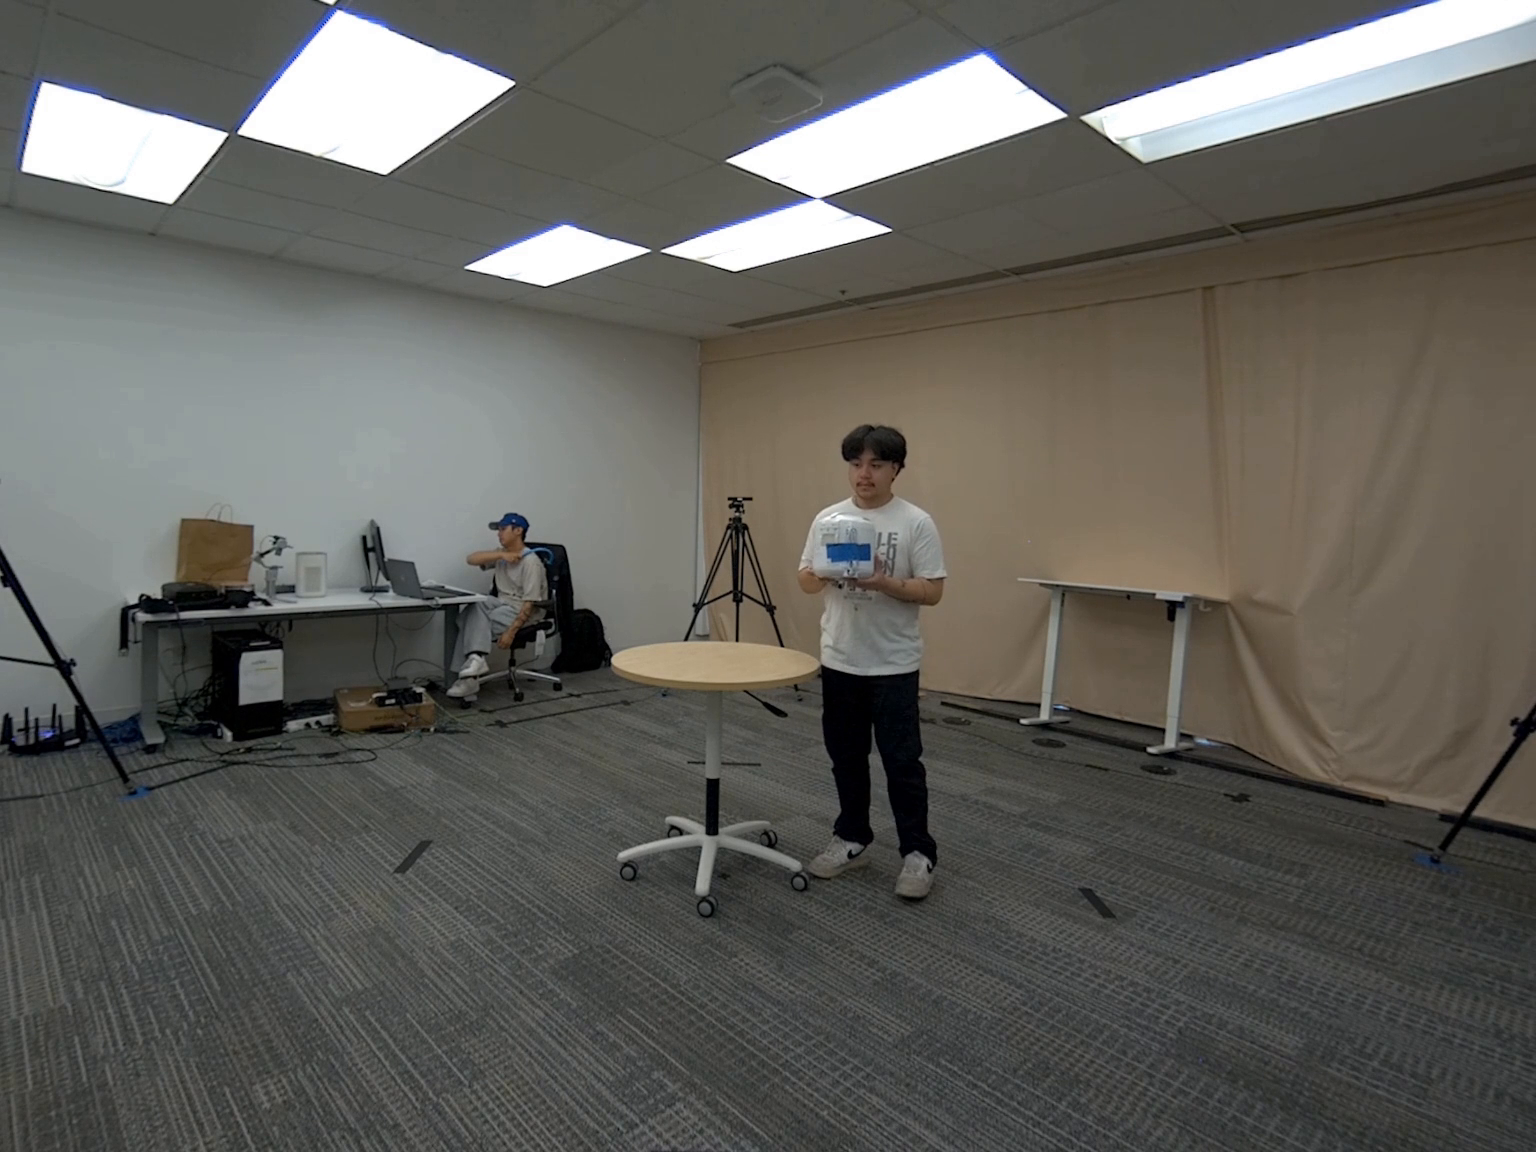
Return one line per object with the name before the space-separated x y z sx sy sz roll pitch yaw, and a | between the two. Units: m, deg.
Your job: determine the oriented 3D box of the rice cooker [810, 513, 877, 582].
rice cooker | 0.247 -0.103 2.862 0.222 0.234 0.215 0 -6 36
